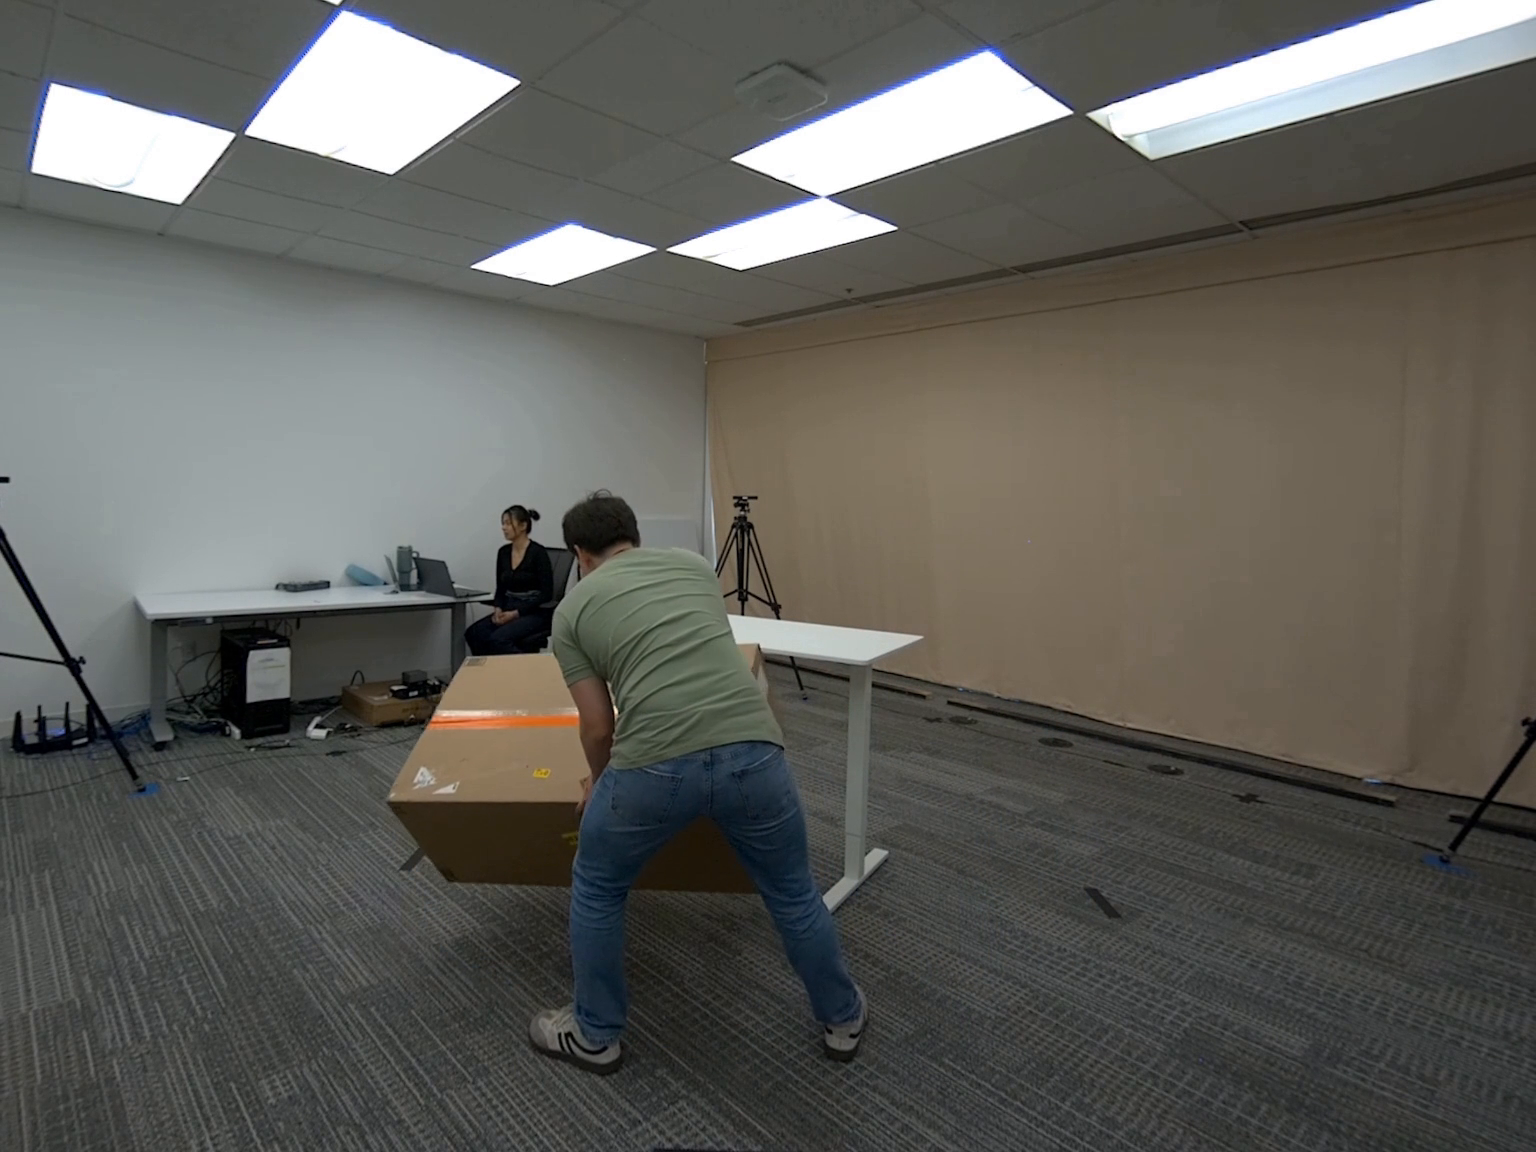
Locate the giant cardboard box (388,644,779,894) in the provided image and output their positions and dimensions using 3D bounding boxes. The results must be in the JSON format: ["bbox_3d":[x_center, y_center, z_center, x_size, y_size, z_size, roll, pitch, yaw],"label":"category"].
[{"bbox_3d":[-0.524,0.577,2.591,1.037,0.415,0.587,-5,39,14],"label":"giant cardboard box"}]
